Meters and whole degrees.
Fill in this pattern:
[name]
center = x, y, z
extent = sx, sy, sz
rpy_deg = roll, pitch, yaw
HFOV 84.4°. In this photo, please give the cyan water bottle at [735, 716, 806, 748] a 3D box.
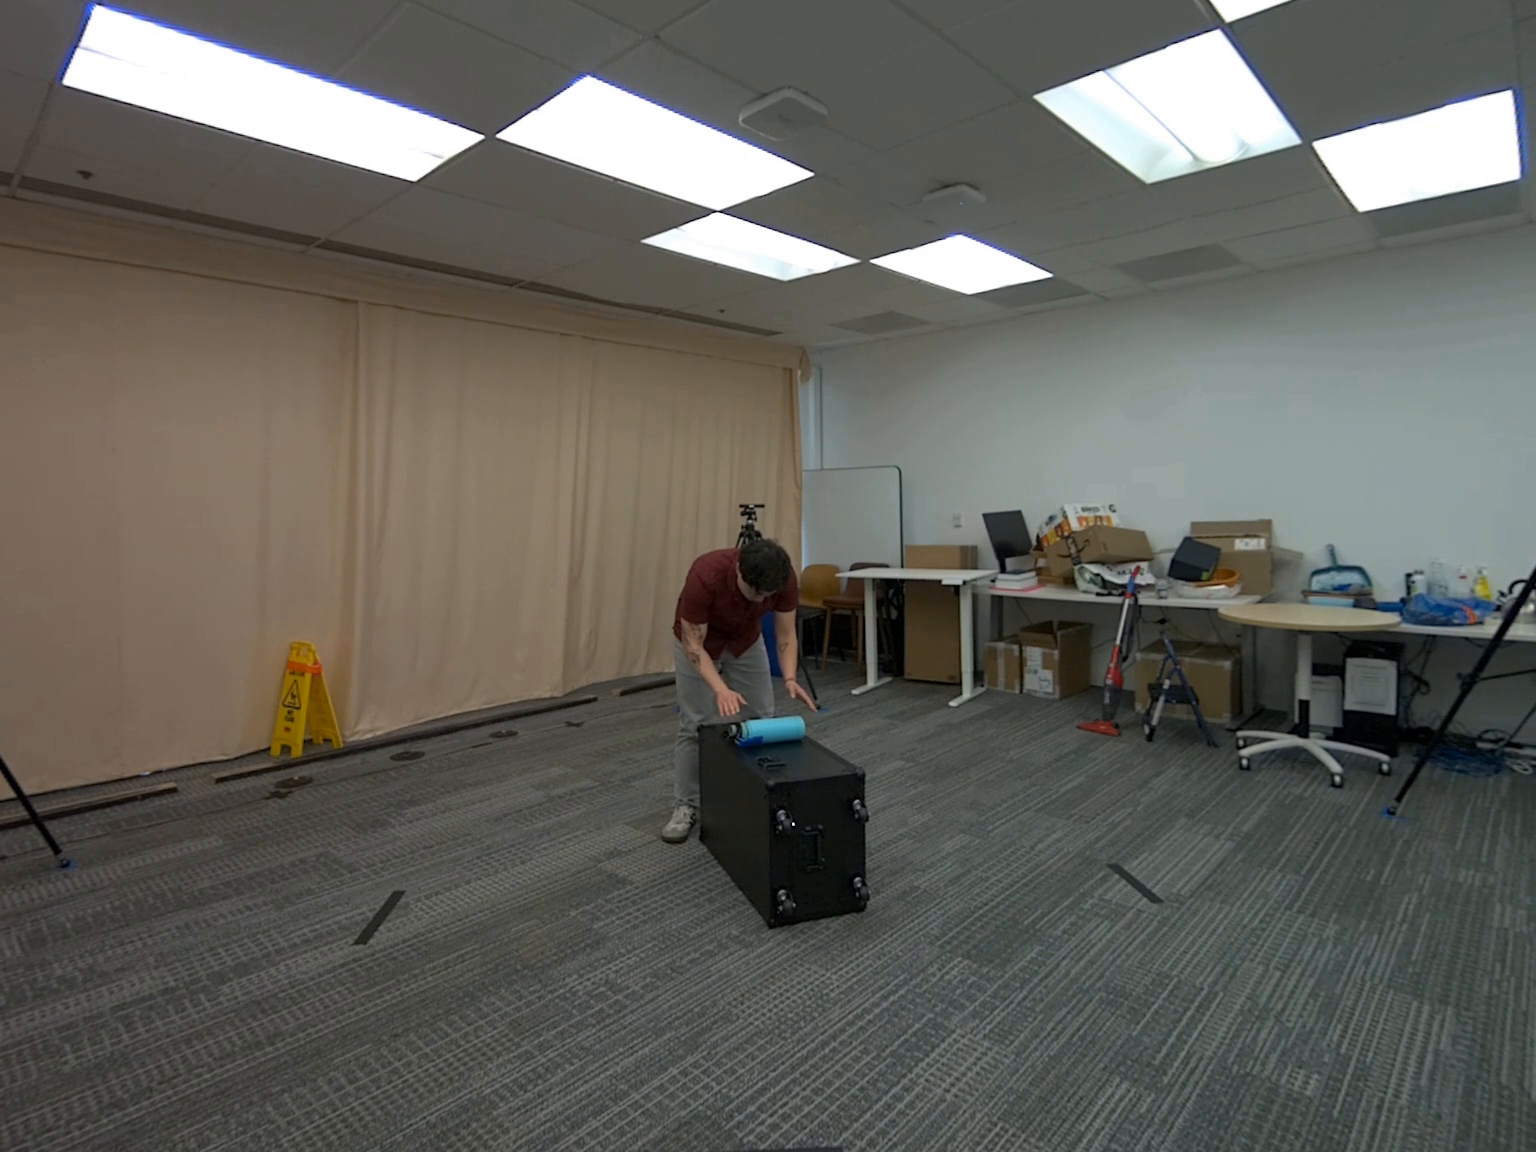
[cyan water bottle]
center = 0.004, 0.584, 3.207
extent = 0.278, 0.092, 0.094
rpy_deg = -2, 4, -18
